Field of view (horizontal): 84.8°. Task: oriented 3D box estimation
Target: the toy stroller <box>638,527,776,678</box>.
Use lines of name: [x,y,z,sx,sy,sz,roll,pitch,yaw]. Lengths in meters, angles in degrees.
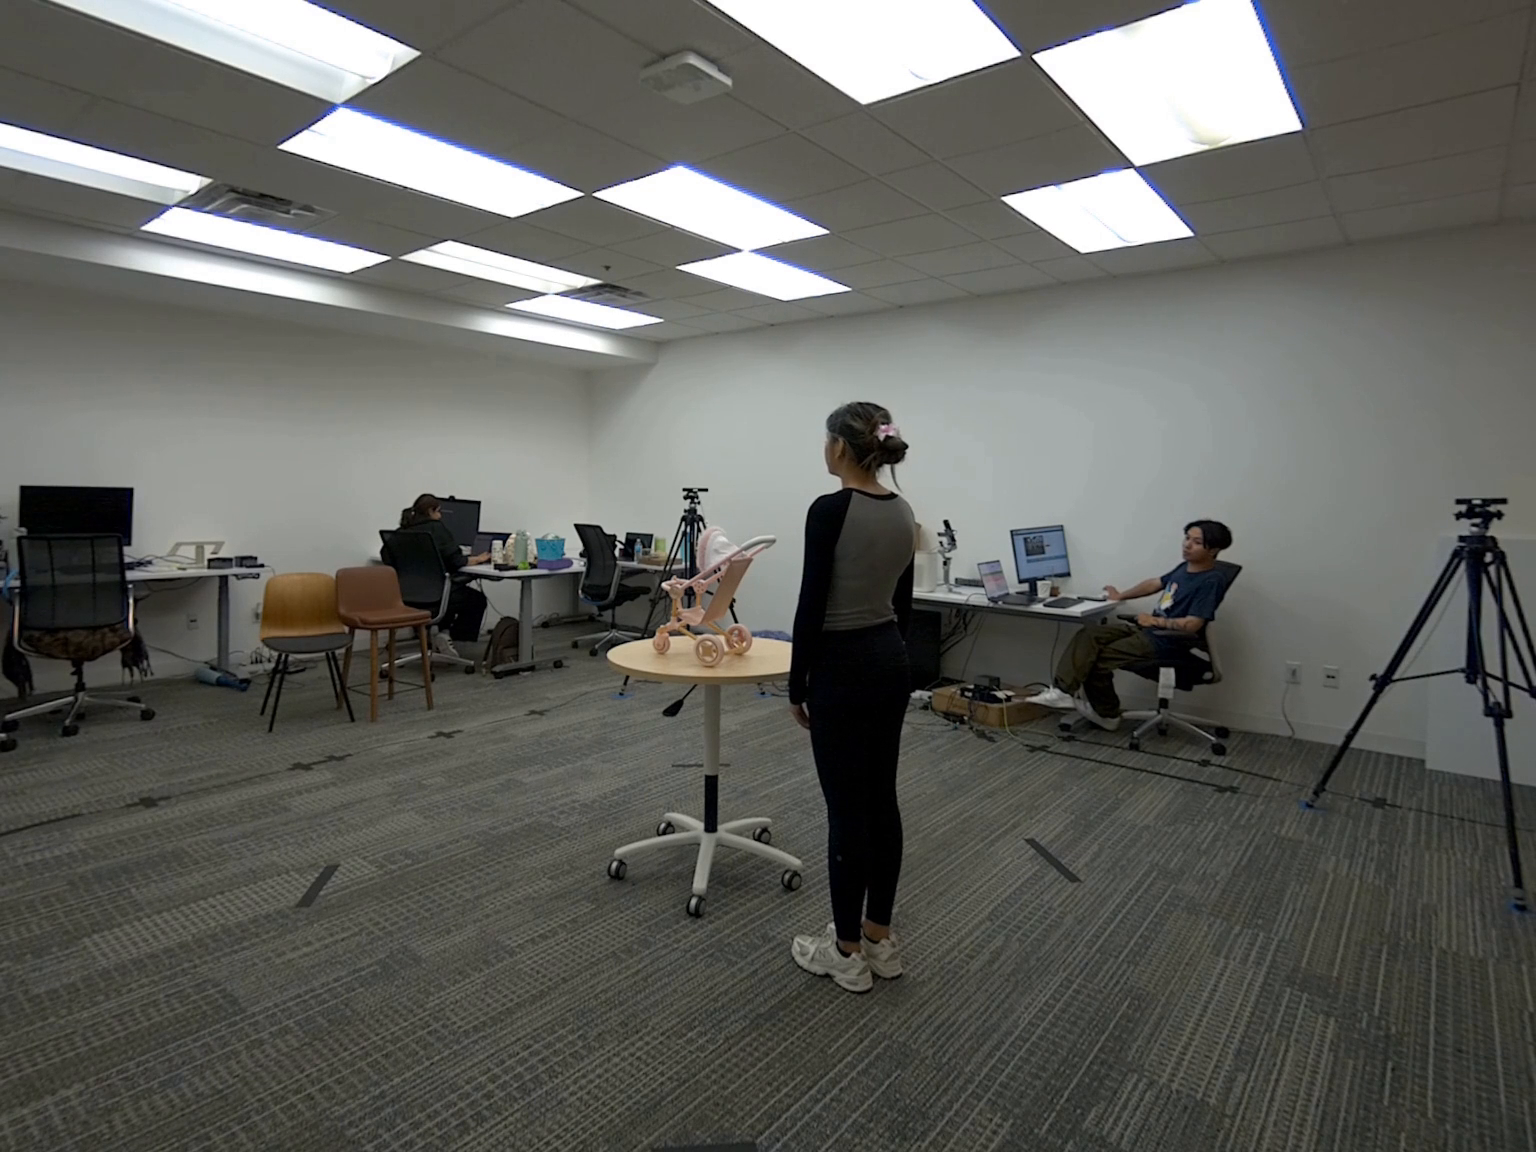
toy stroller: [-0.220,0.064,2.981,0.352,0.531,0.274,19,11,26]
